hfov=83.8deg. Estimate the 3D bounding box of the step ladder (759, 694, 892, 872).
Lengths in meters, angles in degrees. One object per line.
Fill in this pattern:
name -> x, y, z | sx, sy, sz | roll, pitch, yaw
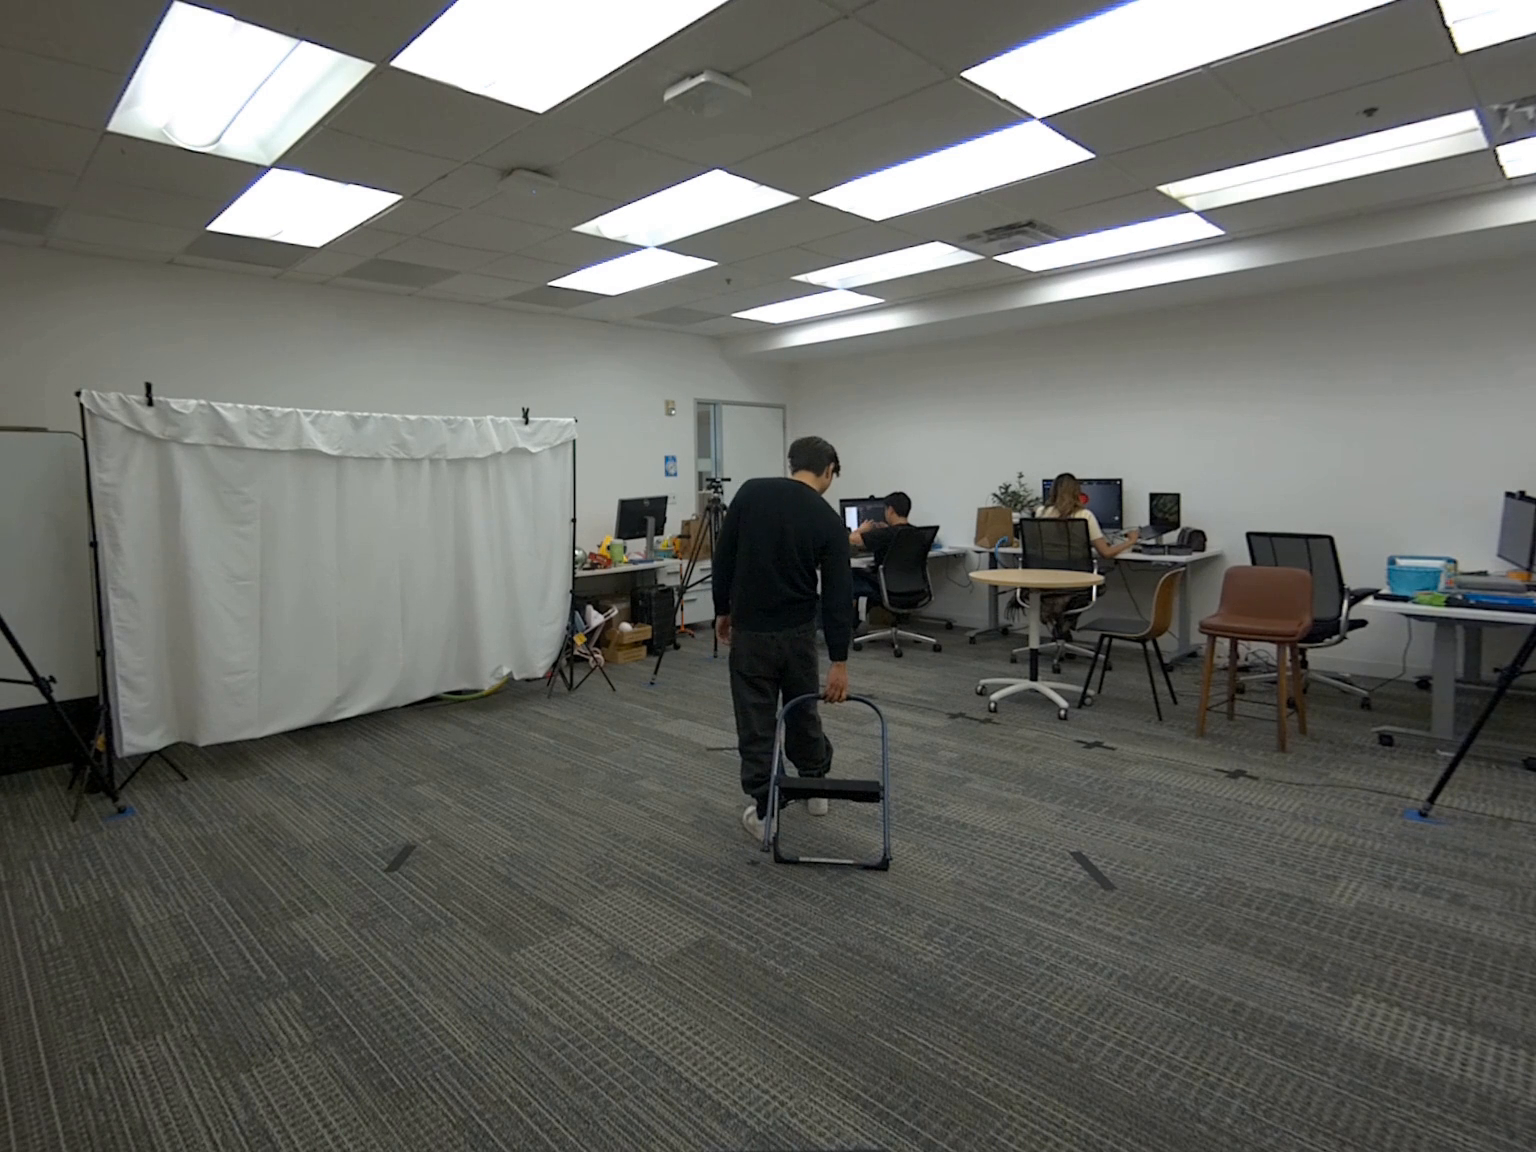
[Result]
step ladder -> 0.231, 0.704, 3.062 | 0.435, 0.618, 0.339 | 0, -26, 9
